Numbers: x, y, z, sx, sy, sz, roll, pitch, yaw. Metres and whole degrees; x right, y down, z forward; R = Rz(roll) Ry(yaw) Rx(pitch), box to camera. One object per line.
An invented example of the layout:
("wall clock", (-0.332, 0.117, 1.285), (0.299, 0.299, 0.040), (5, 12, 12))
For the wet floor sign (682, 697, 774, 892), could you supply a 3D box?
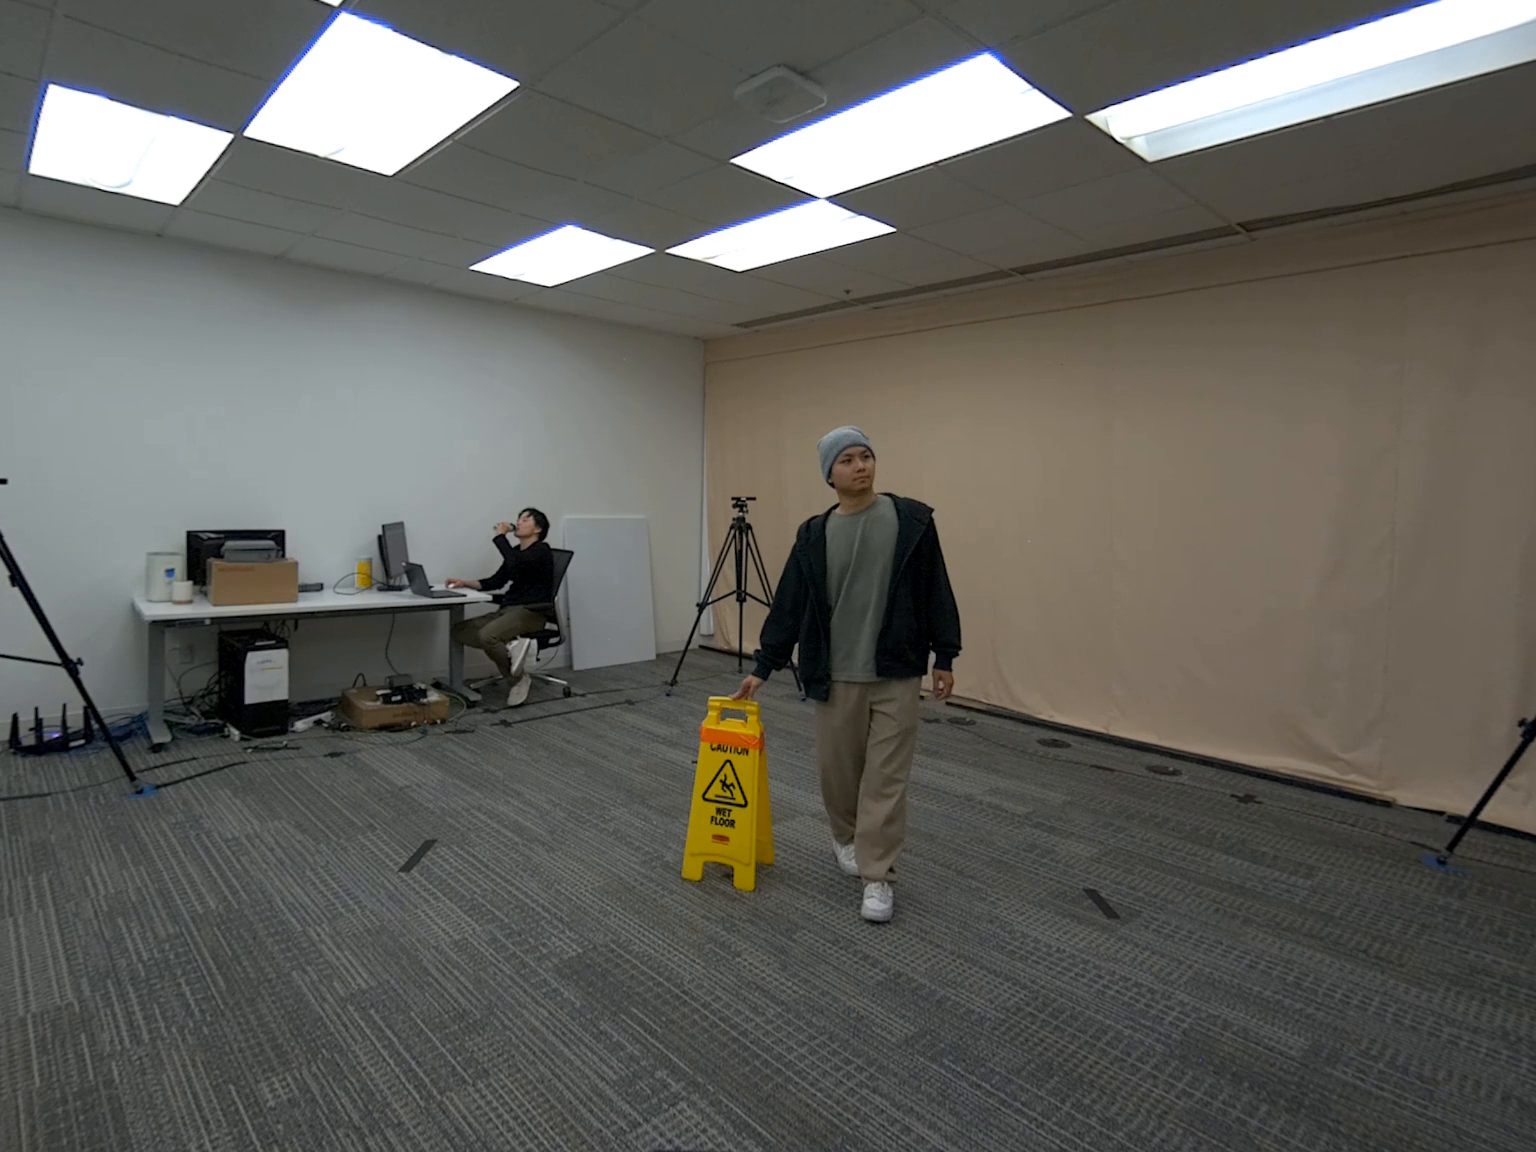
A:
("wet floor sign", (-0.137, 0.777, 3.138), (0.286, 0.644, 0.286), (4, 3, 17))
